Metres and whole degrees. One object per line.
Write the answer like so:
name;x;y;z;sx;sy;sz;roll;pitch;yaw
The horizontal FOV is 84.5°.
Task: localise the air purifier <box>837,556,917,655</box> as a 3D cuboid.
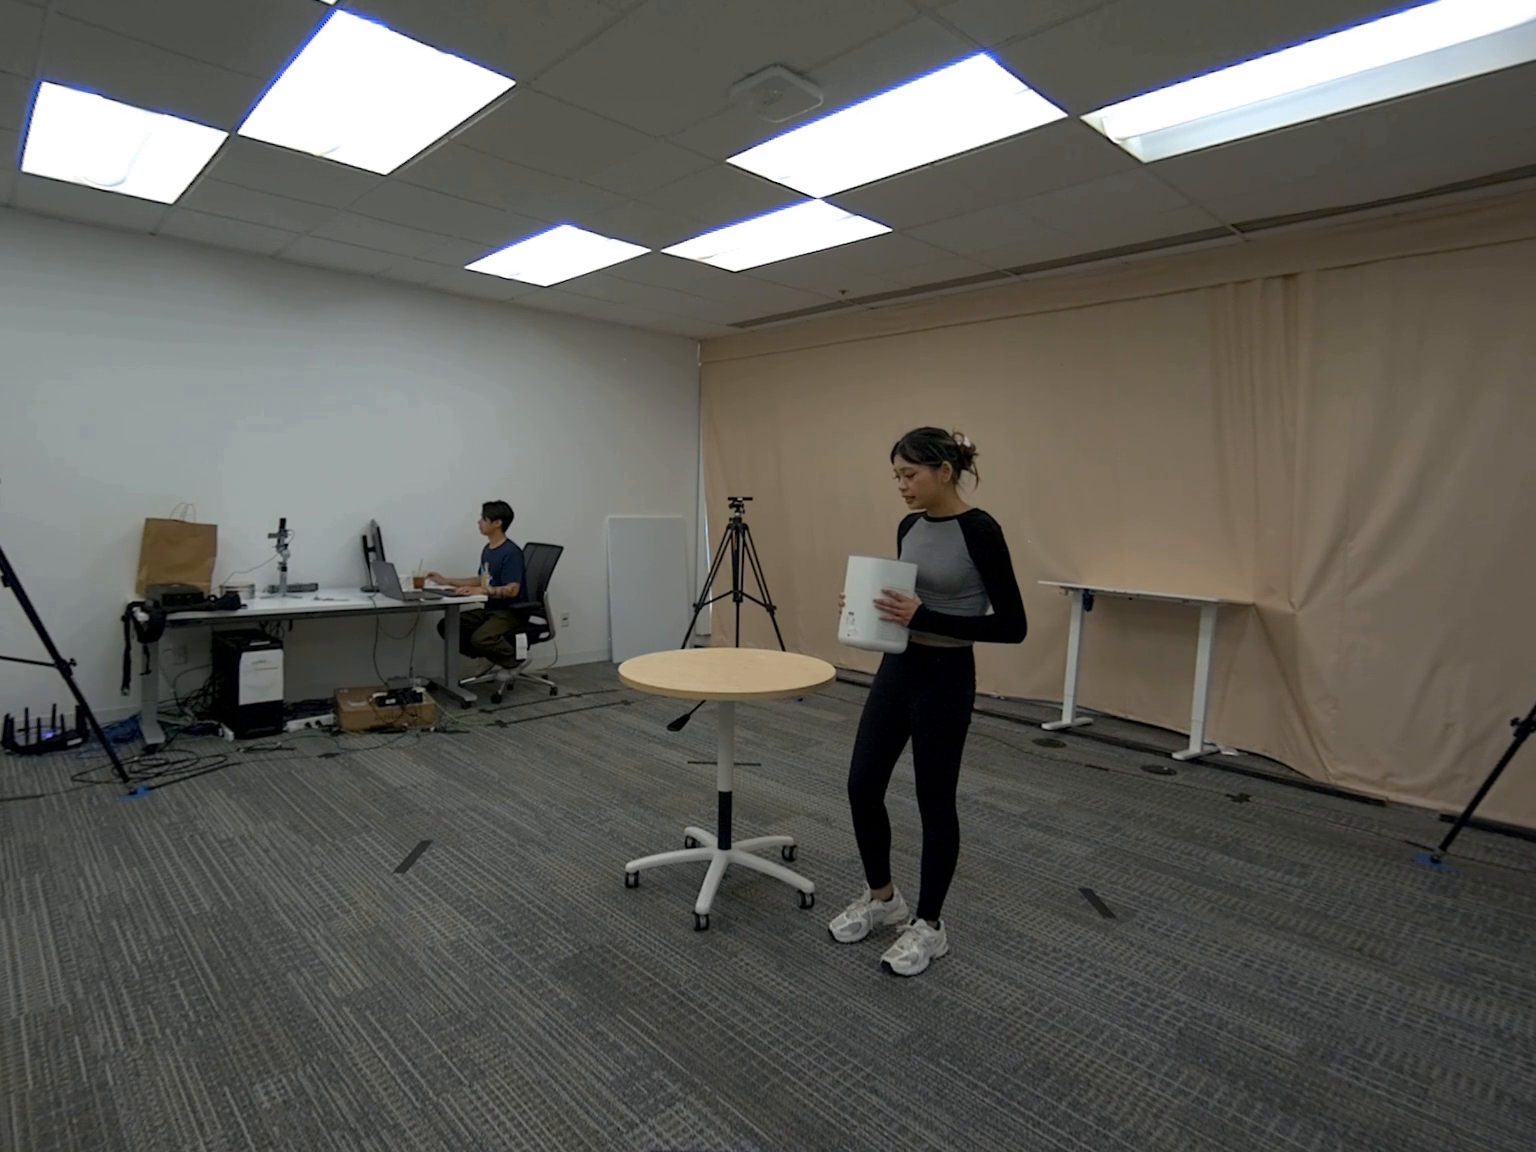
air purifier;0.317;0.086;2.422;0.168;0.265;0.175;9;1;-29
